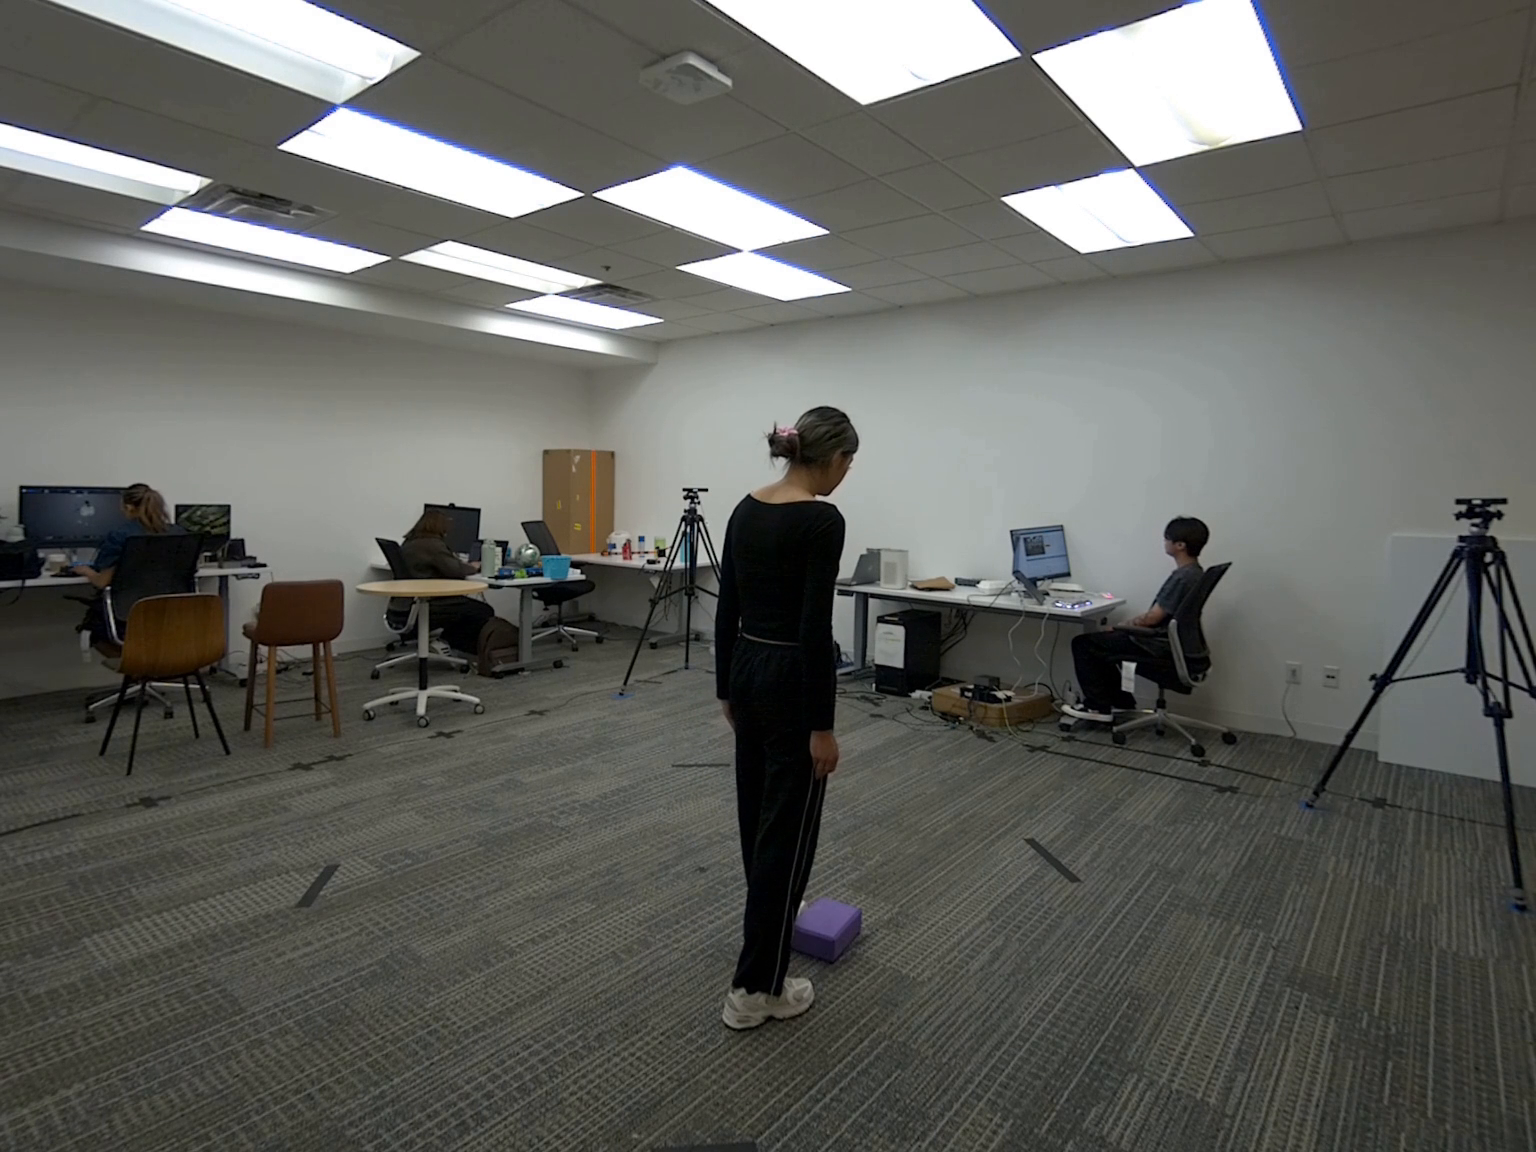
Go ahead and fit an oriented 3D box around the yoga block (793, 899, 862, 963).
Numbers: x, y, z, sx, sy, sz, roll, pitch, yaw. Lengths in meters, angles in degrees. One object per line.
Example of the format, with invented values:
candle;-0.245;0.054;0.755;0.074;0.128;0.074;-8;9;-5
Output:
yoga block;0.177;1.088;2.629;0.153;0.076;0.224;4;6;28
